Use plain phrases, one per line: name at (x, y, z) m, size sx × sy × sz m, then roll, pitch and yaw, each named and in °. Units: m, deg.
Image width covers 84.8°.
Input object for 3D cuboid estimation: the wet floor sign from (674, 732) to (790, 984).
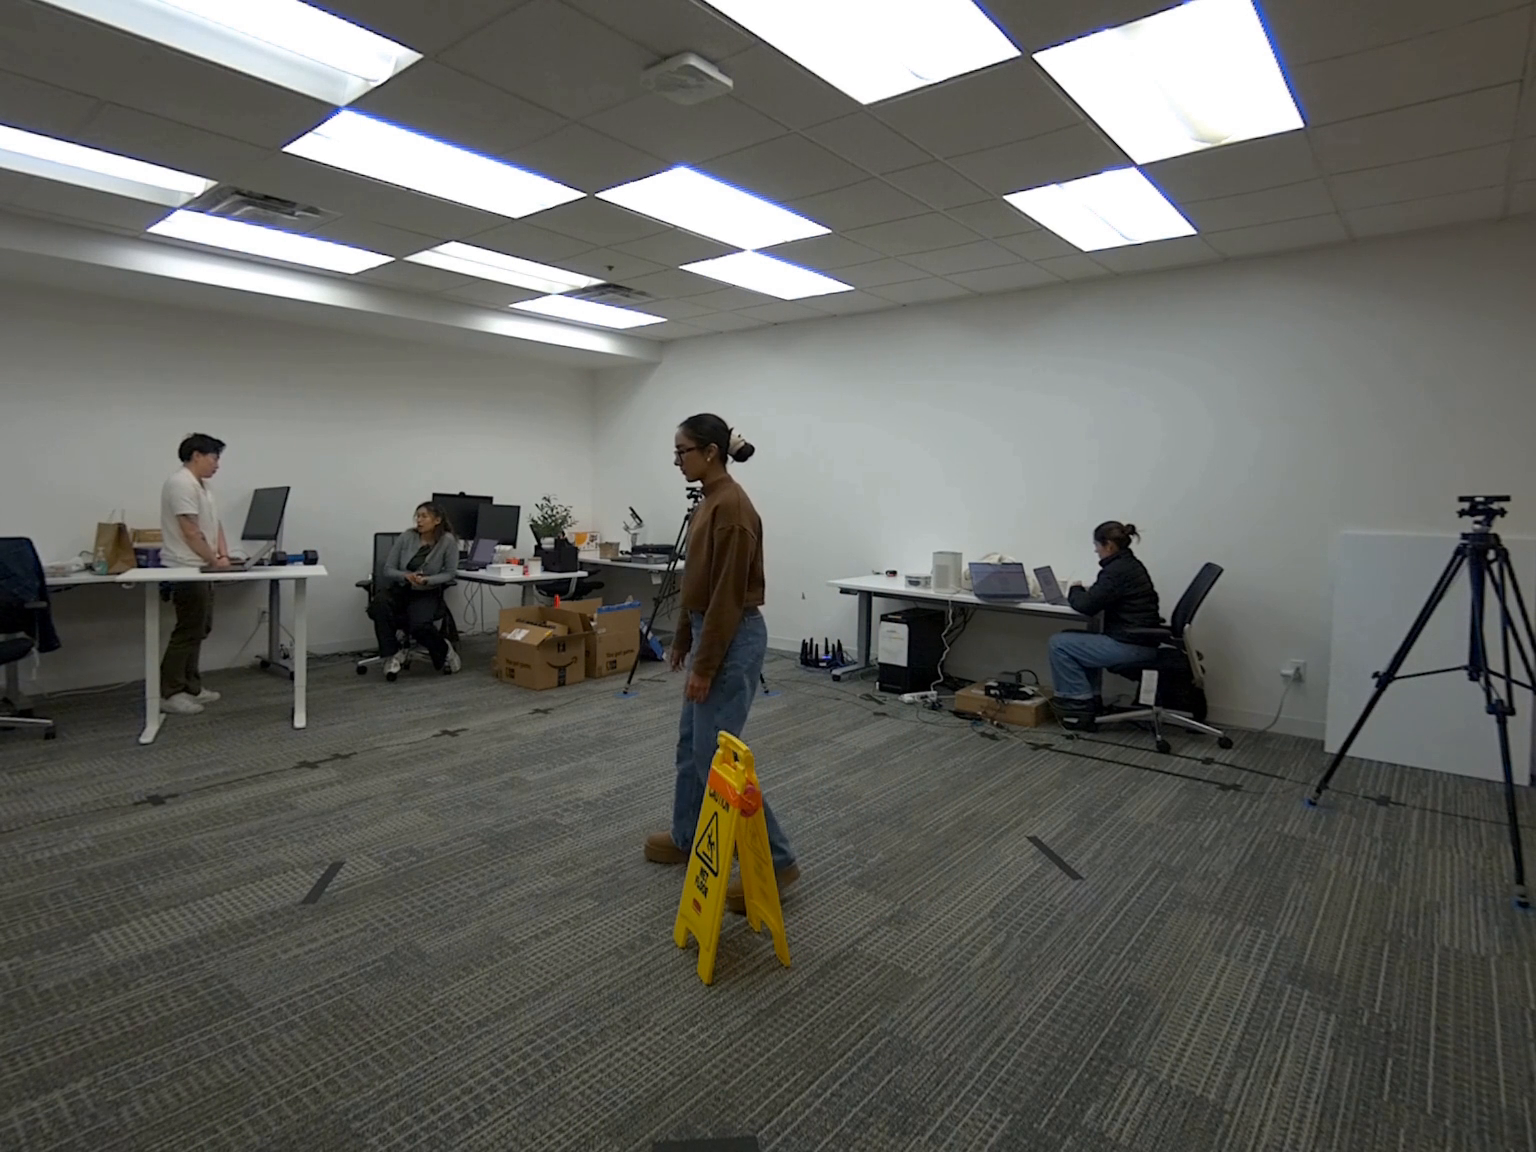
wet floor sign at (-0.111, 0.798, 2.532) m, size 0.283 × 0.644 × 0.290 m, roll 0°, pitch 4°, yaw -24°
